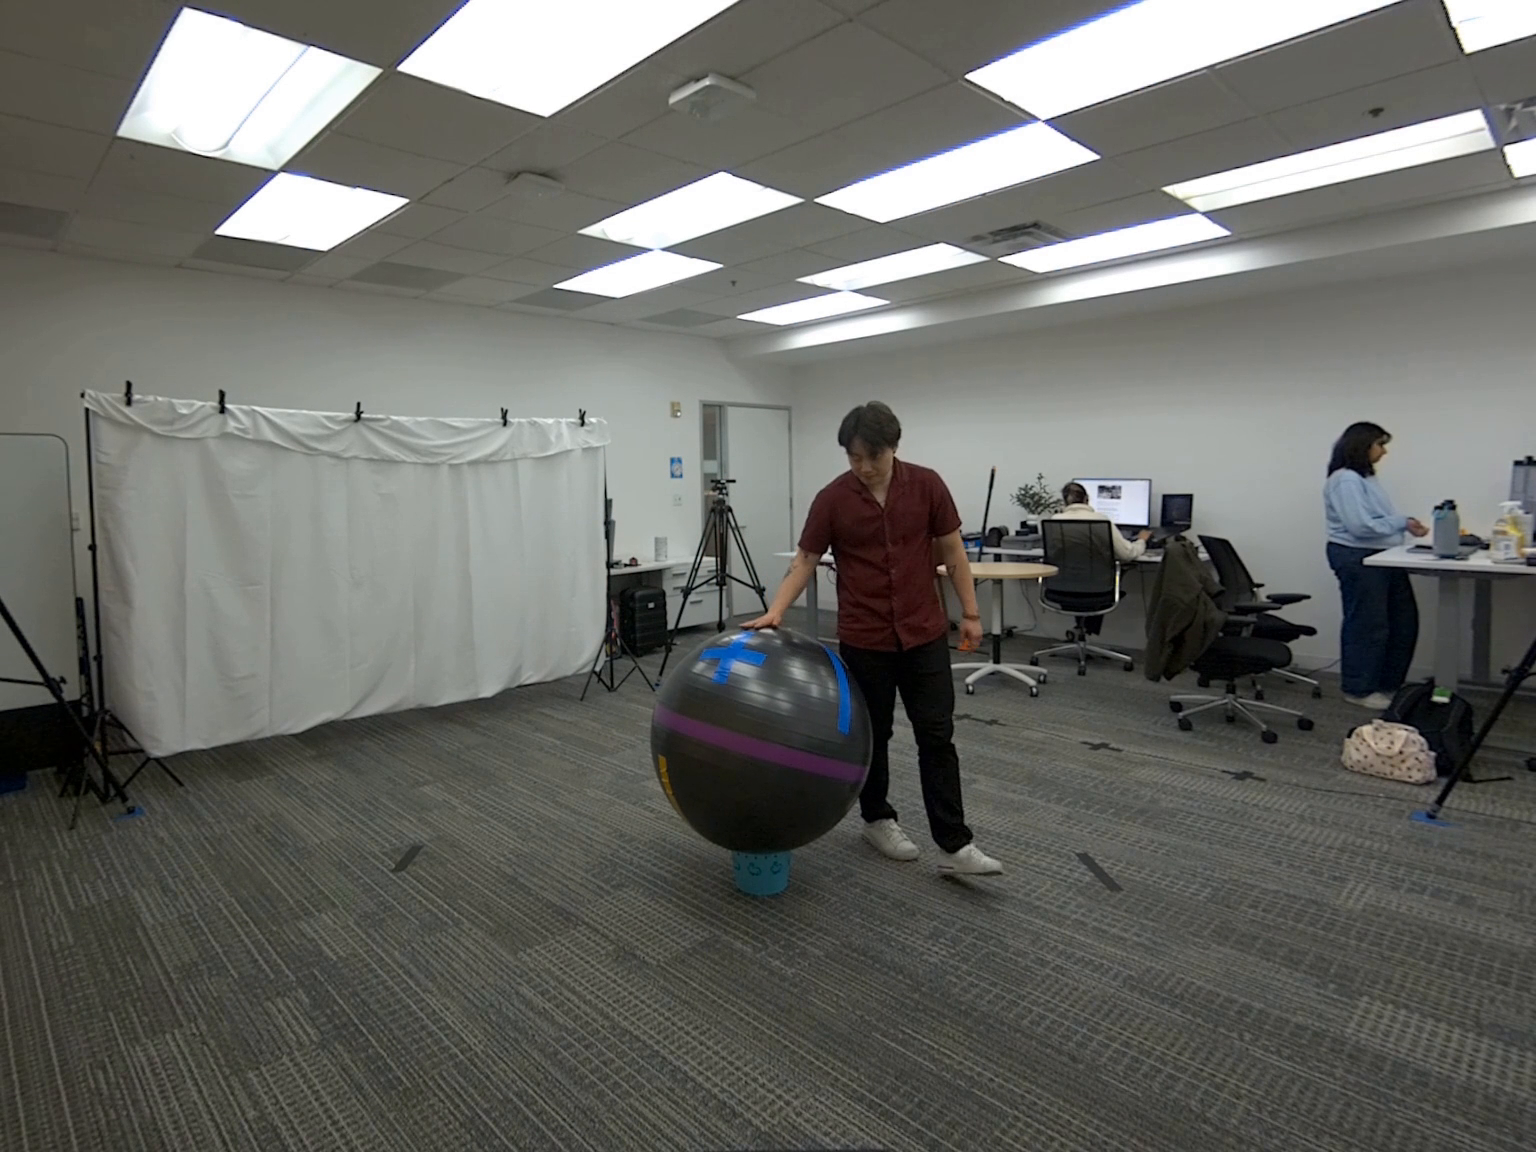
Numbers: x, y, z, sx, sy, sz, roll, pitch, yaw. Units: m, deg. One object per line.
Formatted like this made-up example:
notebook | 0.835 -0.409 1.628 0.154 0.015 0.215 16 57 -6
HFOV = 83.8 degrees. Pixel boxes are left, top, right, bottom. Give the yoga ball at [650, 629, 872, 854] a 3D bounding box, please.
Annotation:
yoga ball | -0.026 0.552 2.944 0.757 0.755 0.762 -1 5 -2
